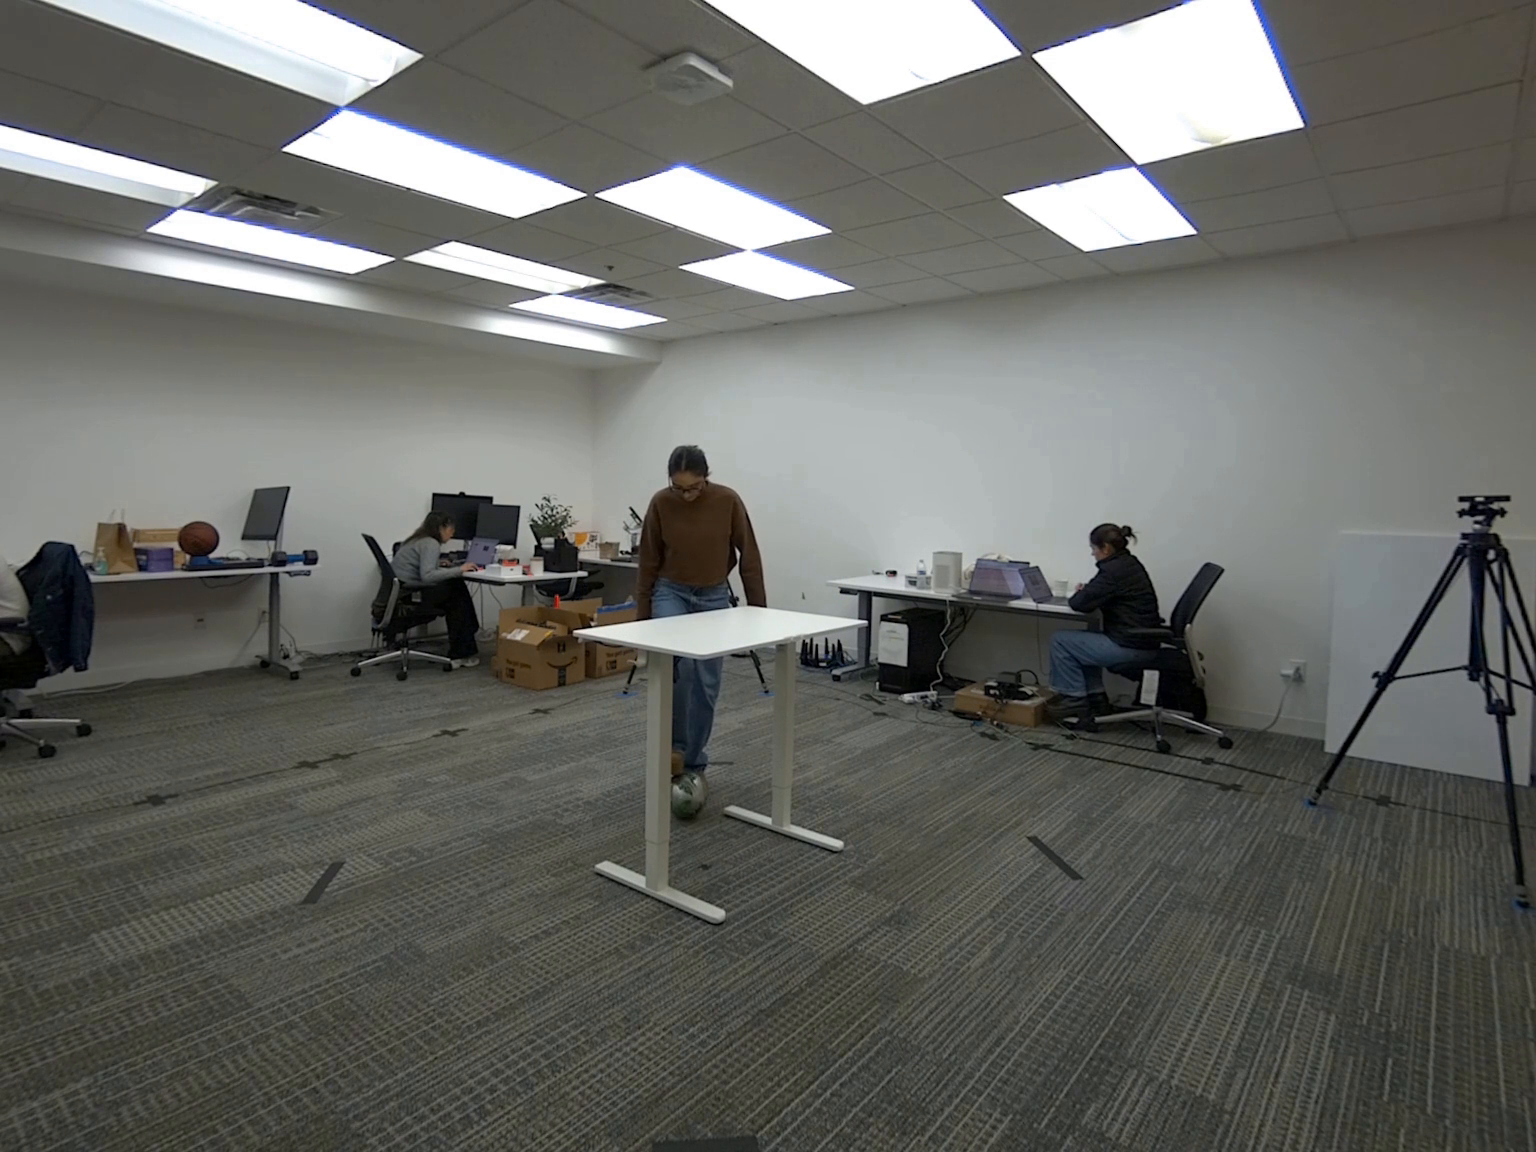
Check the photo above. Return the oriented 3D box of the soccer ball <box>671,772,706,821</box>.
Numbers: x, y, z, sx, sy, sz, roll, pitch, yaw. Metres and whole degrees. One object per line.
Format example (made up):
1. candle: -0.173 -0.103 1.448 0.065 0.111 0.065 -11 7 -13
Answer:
1. soccer ball: -0.362 0.927 3.601 0.187 0.187 0.188 1 4 -2
